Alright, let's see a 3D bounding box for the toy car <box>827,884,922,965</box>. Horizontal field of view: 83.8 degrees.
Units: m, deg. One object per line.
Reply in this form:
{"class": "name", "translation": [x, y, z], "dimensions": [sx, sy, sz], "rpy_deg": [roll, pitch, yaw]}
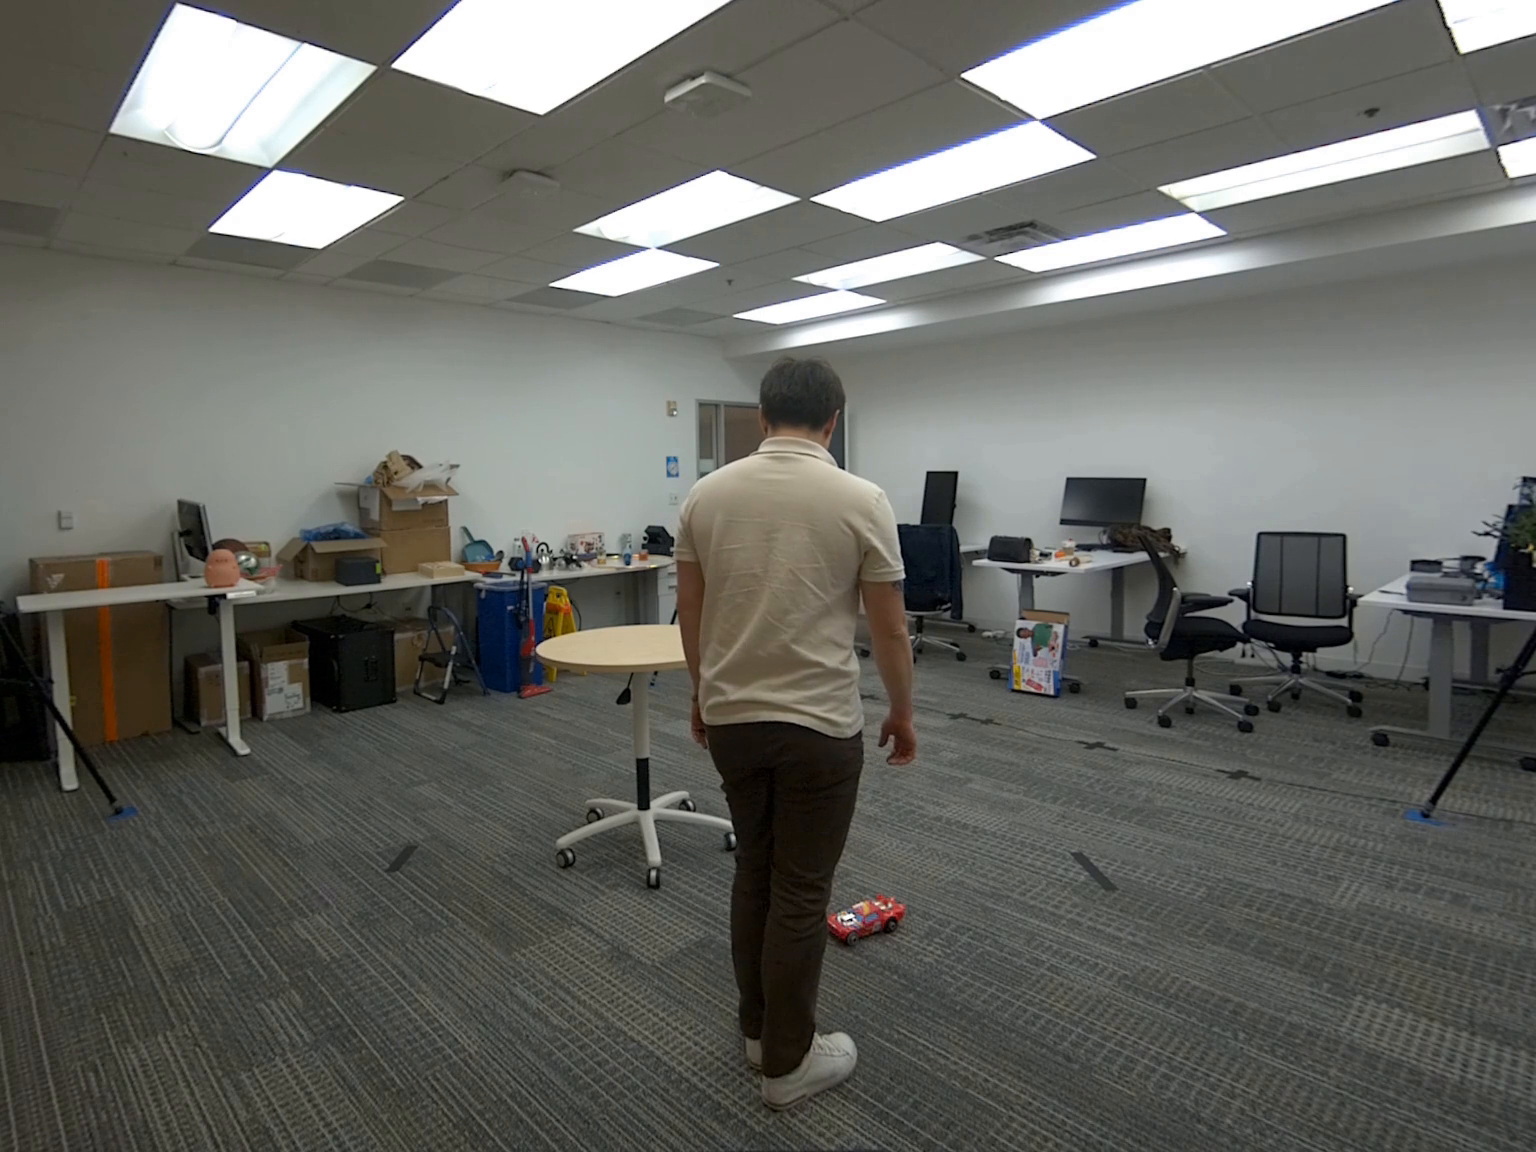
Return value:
{"class": "toy car", "translation": [0.324, 1.063, 2.630], "dimensions": [0.250, 0.082, 0.134], "rpy_deg": [-17, 13, -27]}
